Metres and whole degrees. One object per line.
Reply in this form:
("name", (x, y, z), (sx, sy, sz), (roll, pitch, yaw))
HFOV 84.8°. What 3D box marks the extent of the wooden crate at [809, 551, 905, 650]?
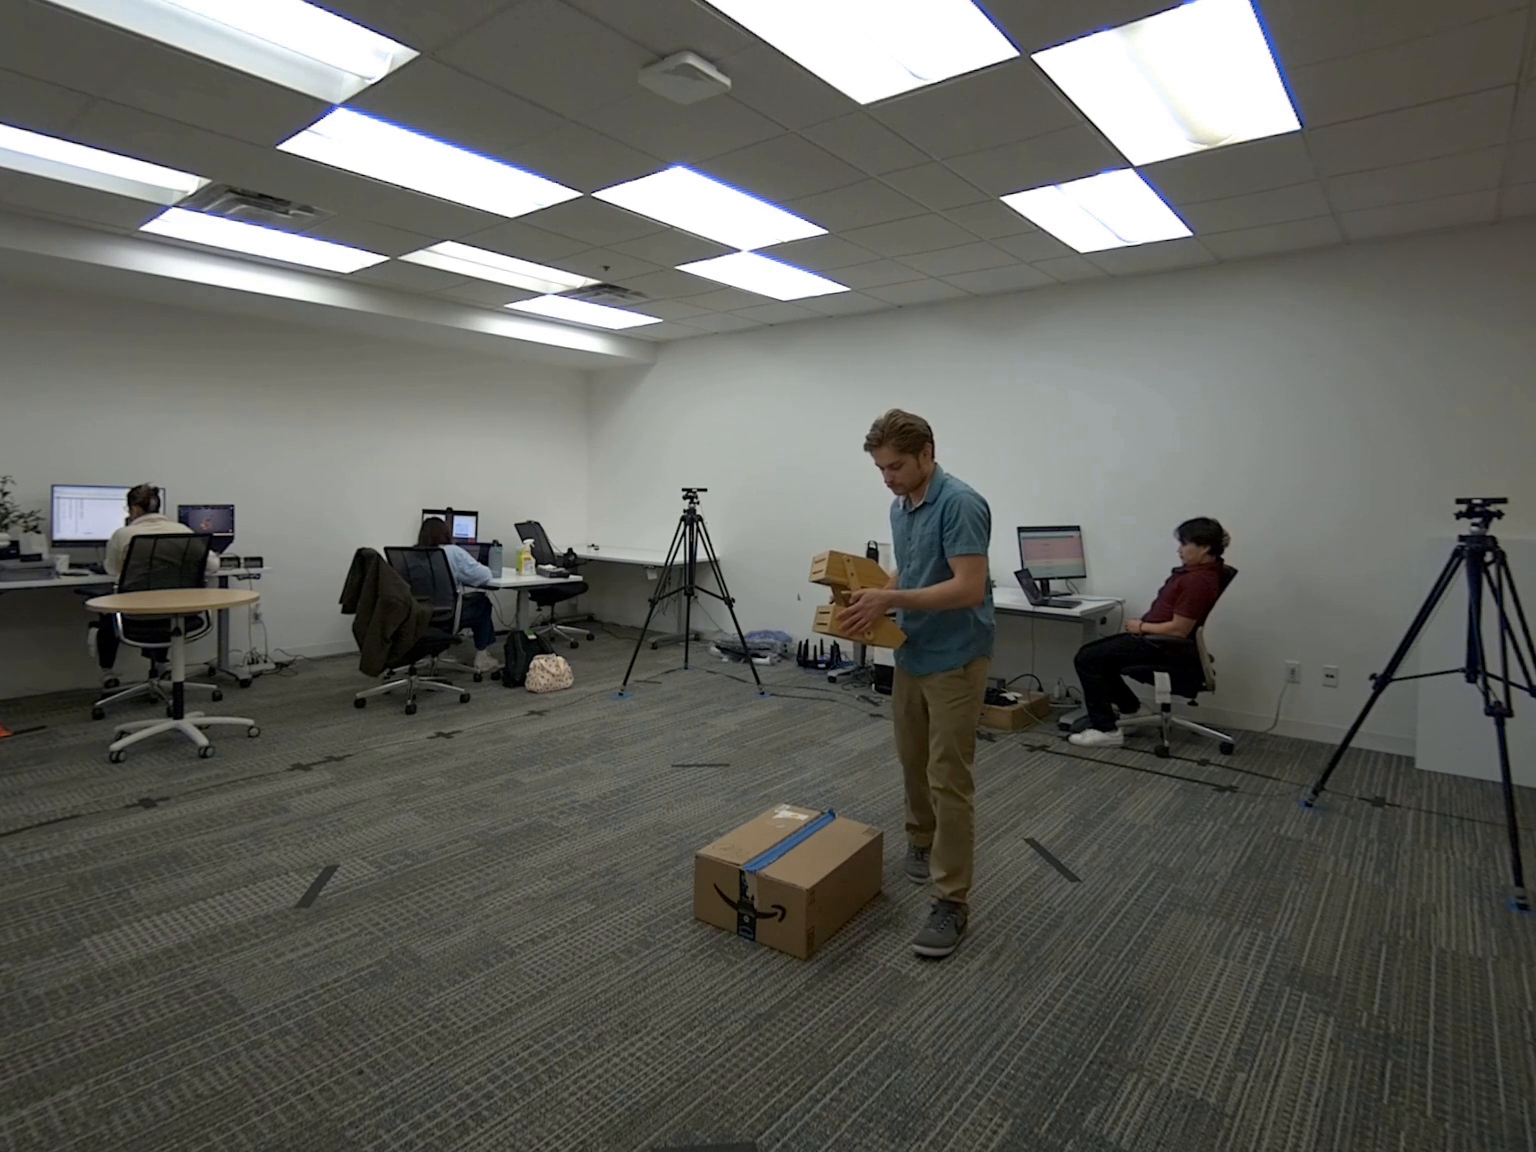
("wooden crate", (0.297, 0.079, 2.847), (0.302, 0.274, 0.324), (12, -5, -2))
